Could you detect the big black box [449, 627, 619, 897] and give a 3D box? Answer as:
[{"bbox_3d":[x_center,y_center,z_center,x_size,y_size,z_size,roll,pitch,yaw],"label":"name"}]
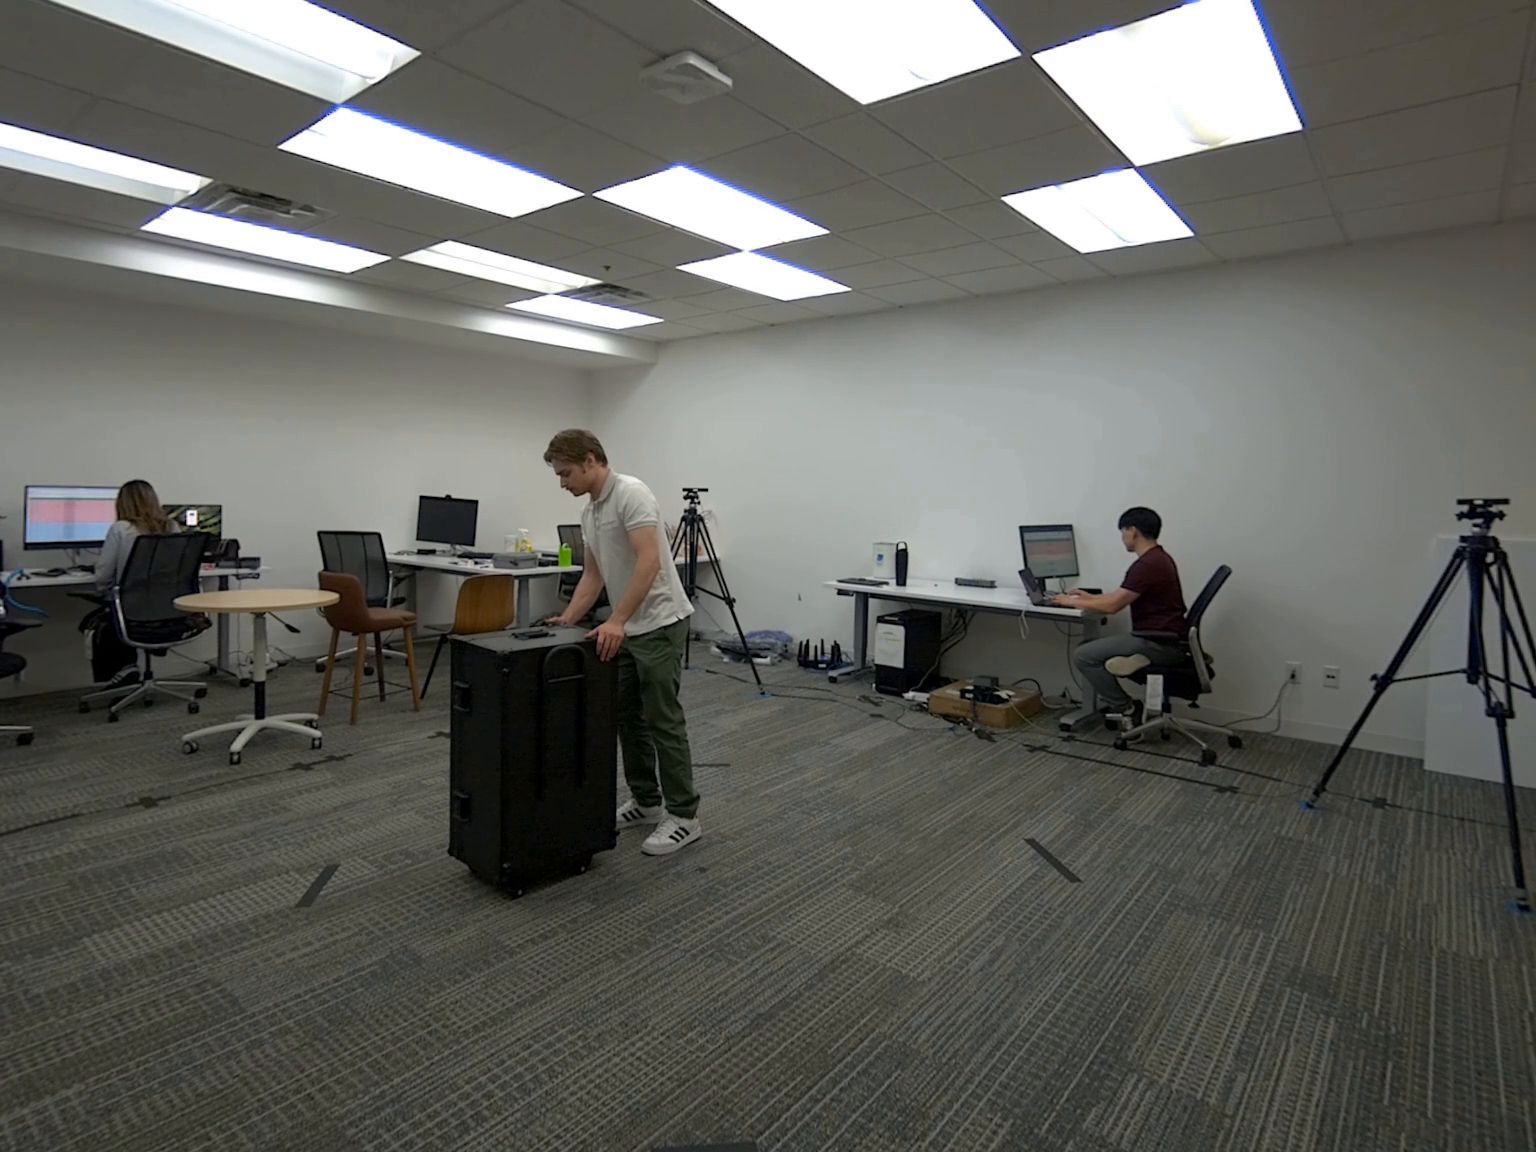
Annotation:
[{"bbox_3d":[-0.851,0.644,3.044,0.410,0.859,0.505,5,5,43],"label":"big black box"}]
